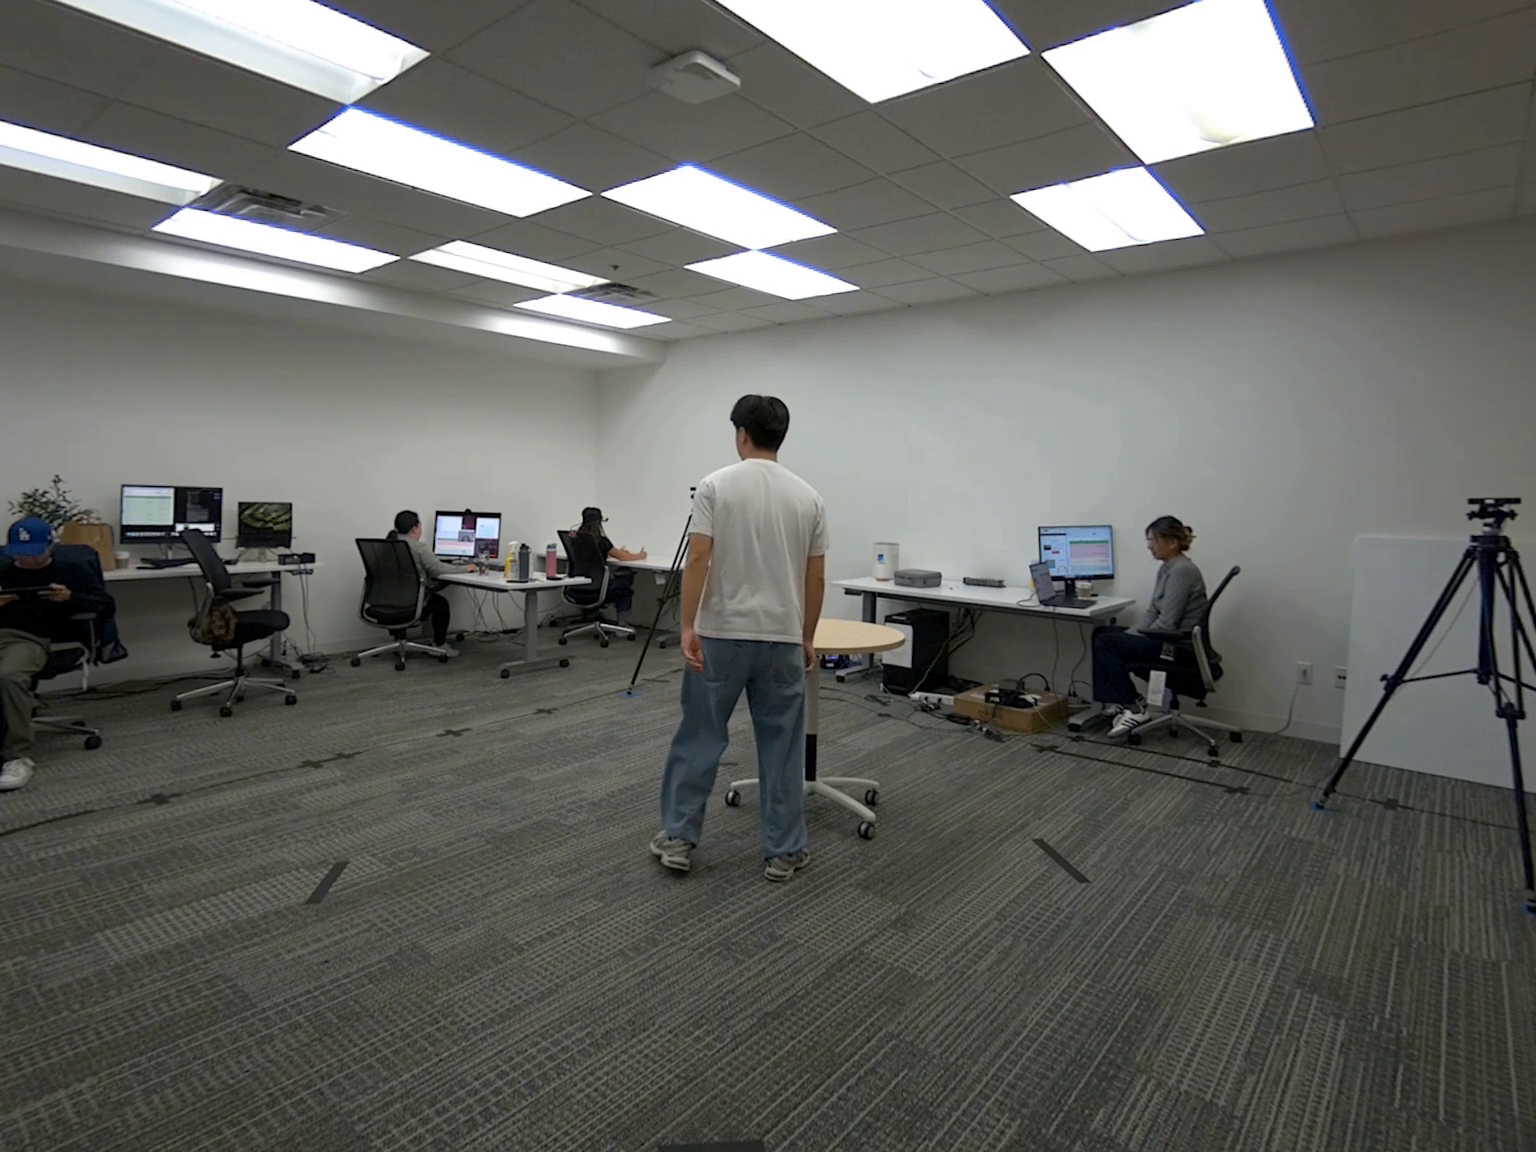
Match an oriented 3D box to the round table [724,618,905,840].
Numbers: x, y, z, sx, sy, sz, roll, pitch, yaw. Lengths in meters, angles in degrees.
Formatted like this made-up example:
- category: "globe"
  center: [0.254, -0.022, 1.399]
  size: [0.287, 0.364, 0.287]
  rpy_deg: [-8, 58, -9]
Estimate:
- category: "round table"
  center: [0.174, 0.630, 3.667]
  size: [0.763, 0.792, 0.767]
  rpy_deg: [1, 4, -2]
